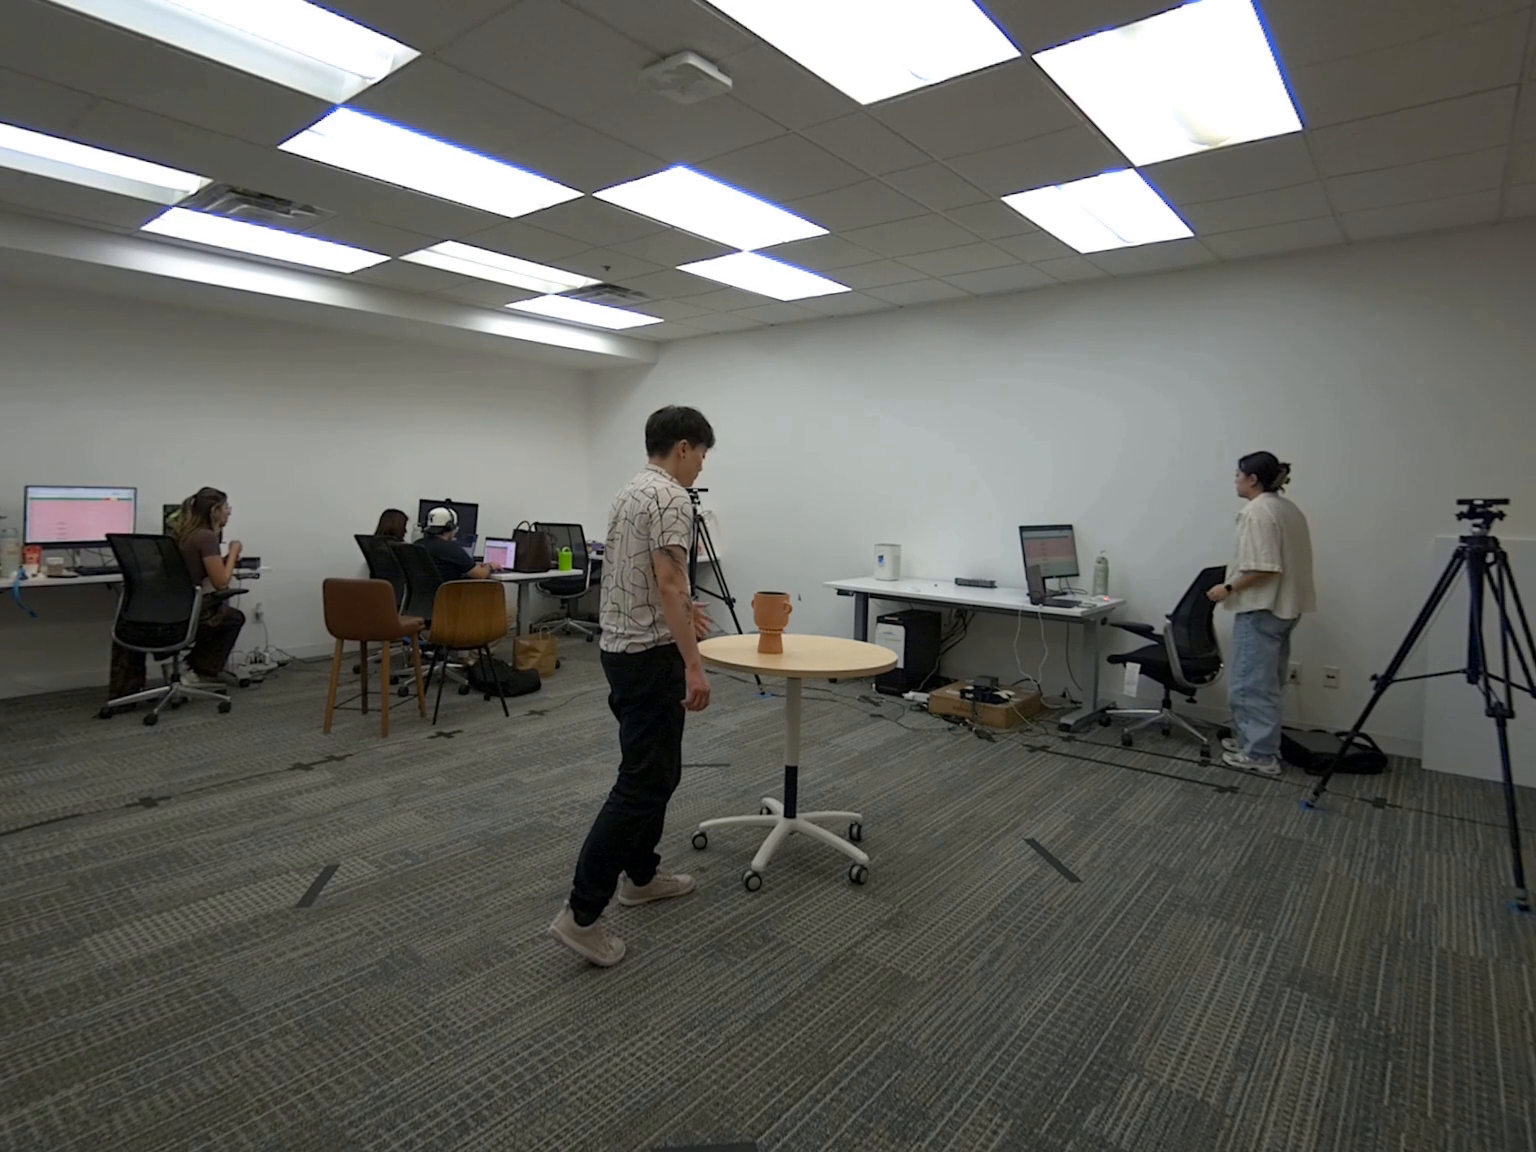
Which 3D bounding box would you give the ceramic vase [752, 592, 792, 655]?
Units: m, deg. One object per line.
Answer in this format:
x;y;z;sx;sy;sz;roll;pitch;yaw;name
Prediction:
0.000;0.171;3.186;0.133;0.219;0.160;0;3;-8;ceramic vase
